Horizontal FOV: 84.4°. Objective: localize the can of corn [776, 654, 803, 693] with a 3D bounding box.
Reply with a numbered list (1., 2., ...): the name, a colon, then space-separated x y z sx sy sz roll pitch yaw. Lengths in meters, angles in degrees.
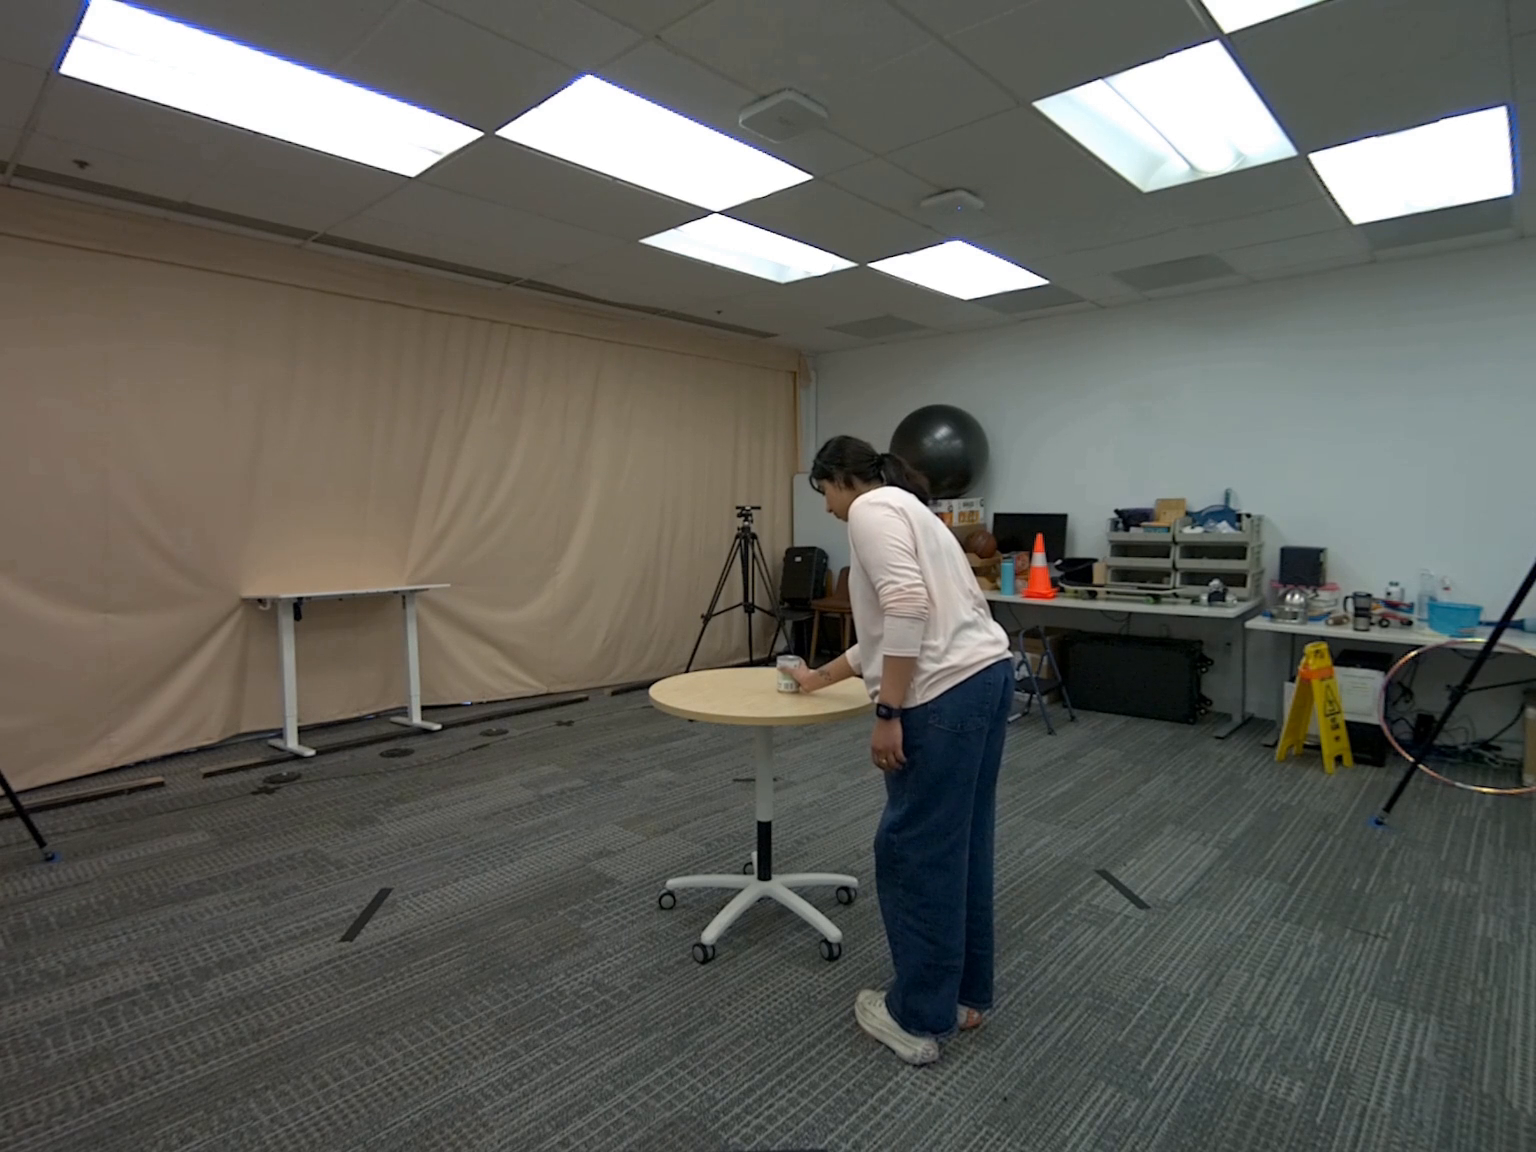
1. can of corn: 0.072 0.325 2.749 0.074 0.111 0.074 -1 4 -2
